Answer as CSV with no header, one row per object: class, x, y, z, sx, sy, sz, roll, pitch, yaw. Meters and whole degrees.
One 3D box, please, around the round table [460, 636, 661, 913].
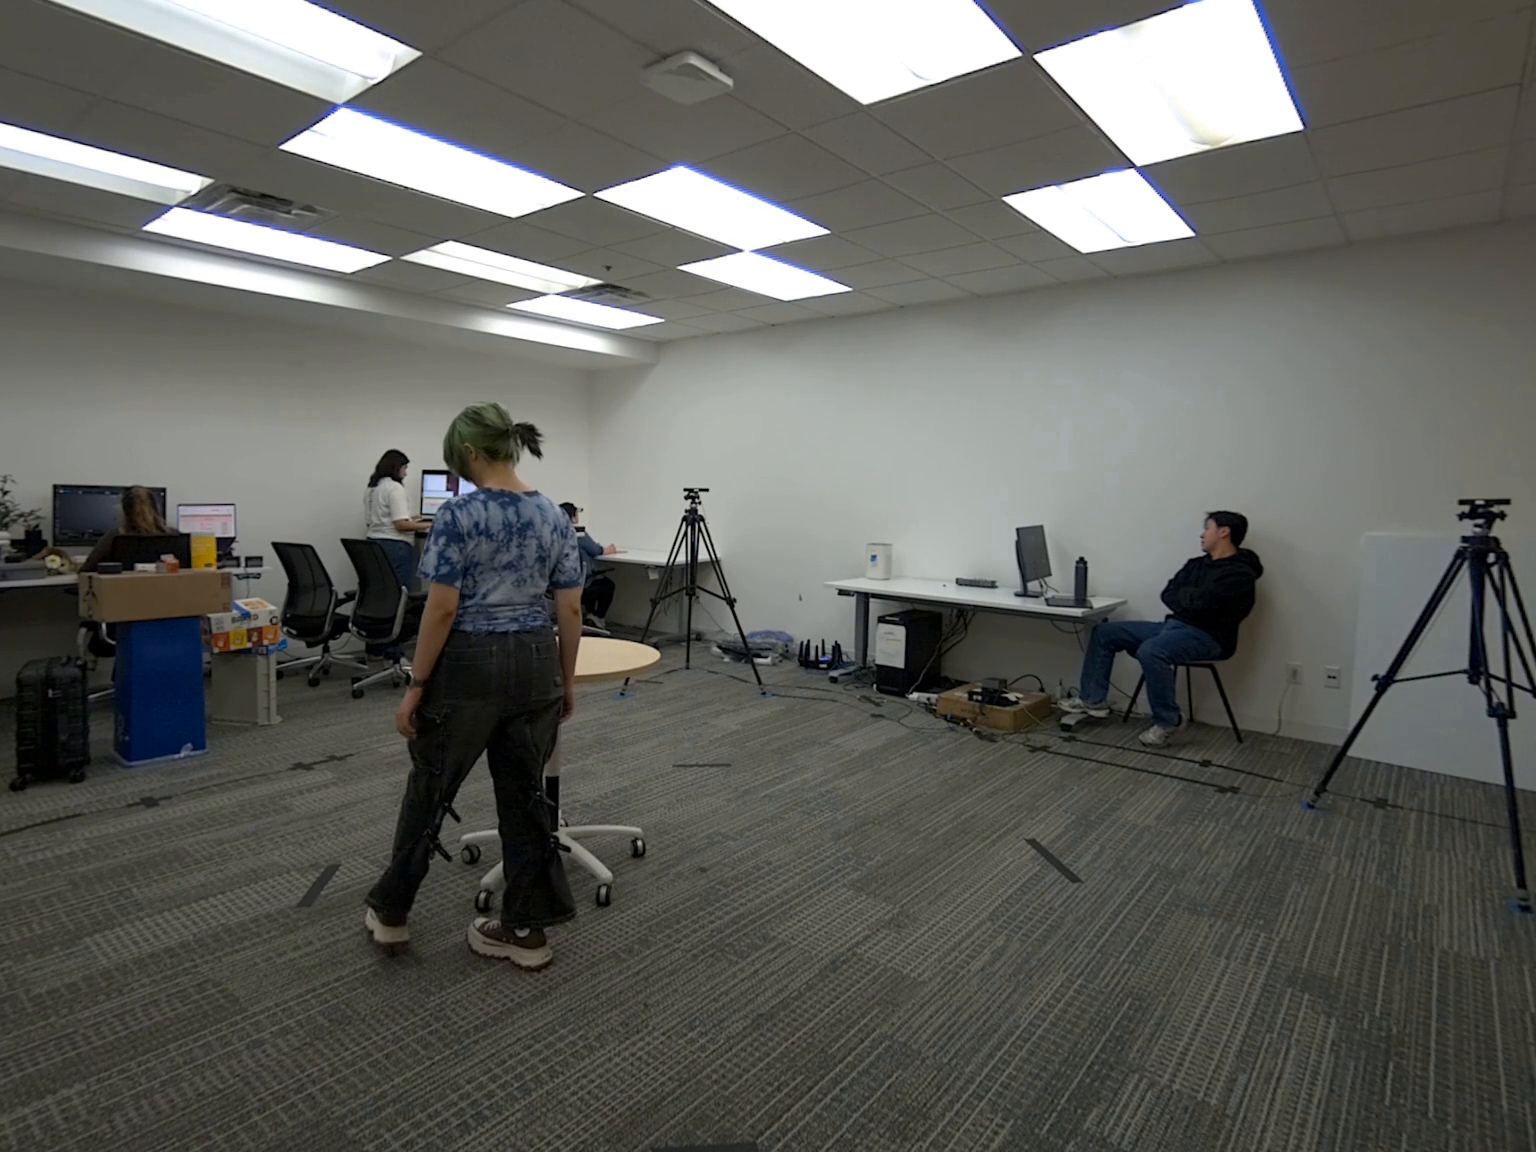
round table,-0.782,0.674,3.072,0.763,0.792,0.767,1,4,-2
